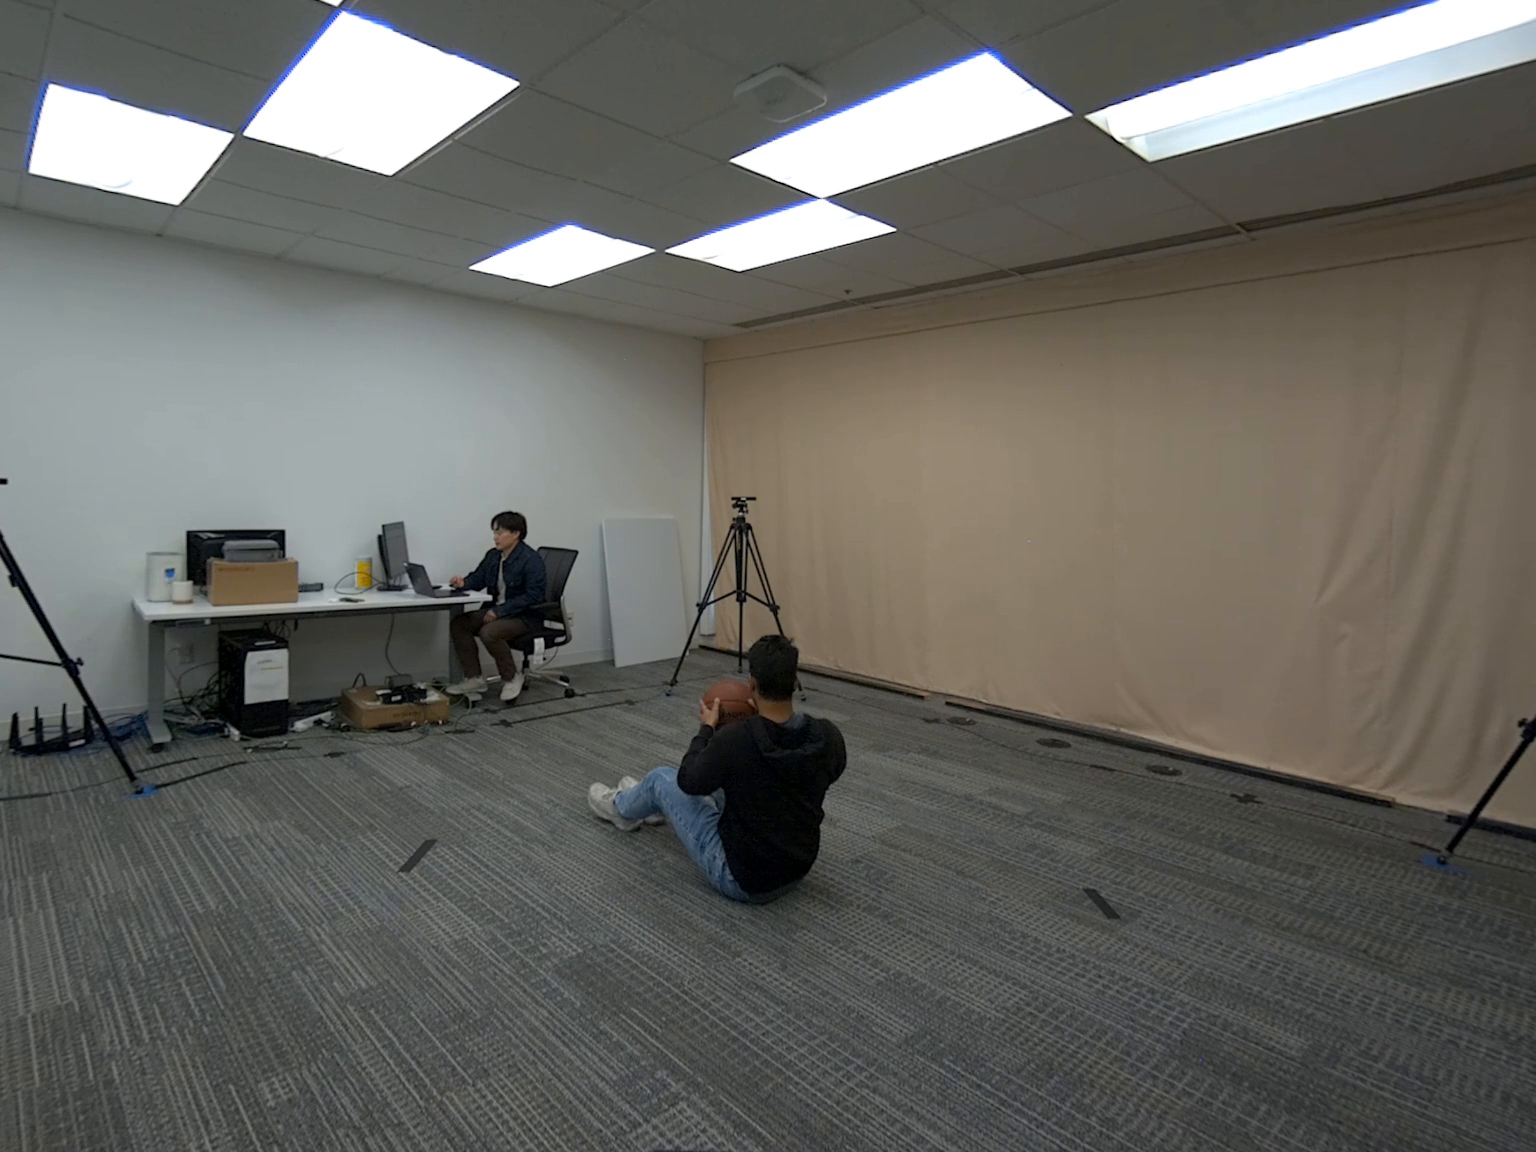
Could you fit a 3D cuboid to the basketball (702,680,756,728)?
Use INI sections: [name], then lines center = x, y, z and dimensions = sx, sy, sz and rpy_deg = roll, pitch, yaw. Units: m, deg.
[basketball]
center = -0.161, 0.550, 3.363
dimensions = 0.236, 0.235, 0.237
rpy_deg = 1, 4, -1
